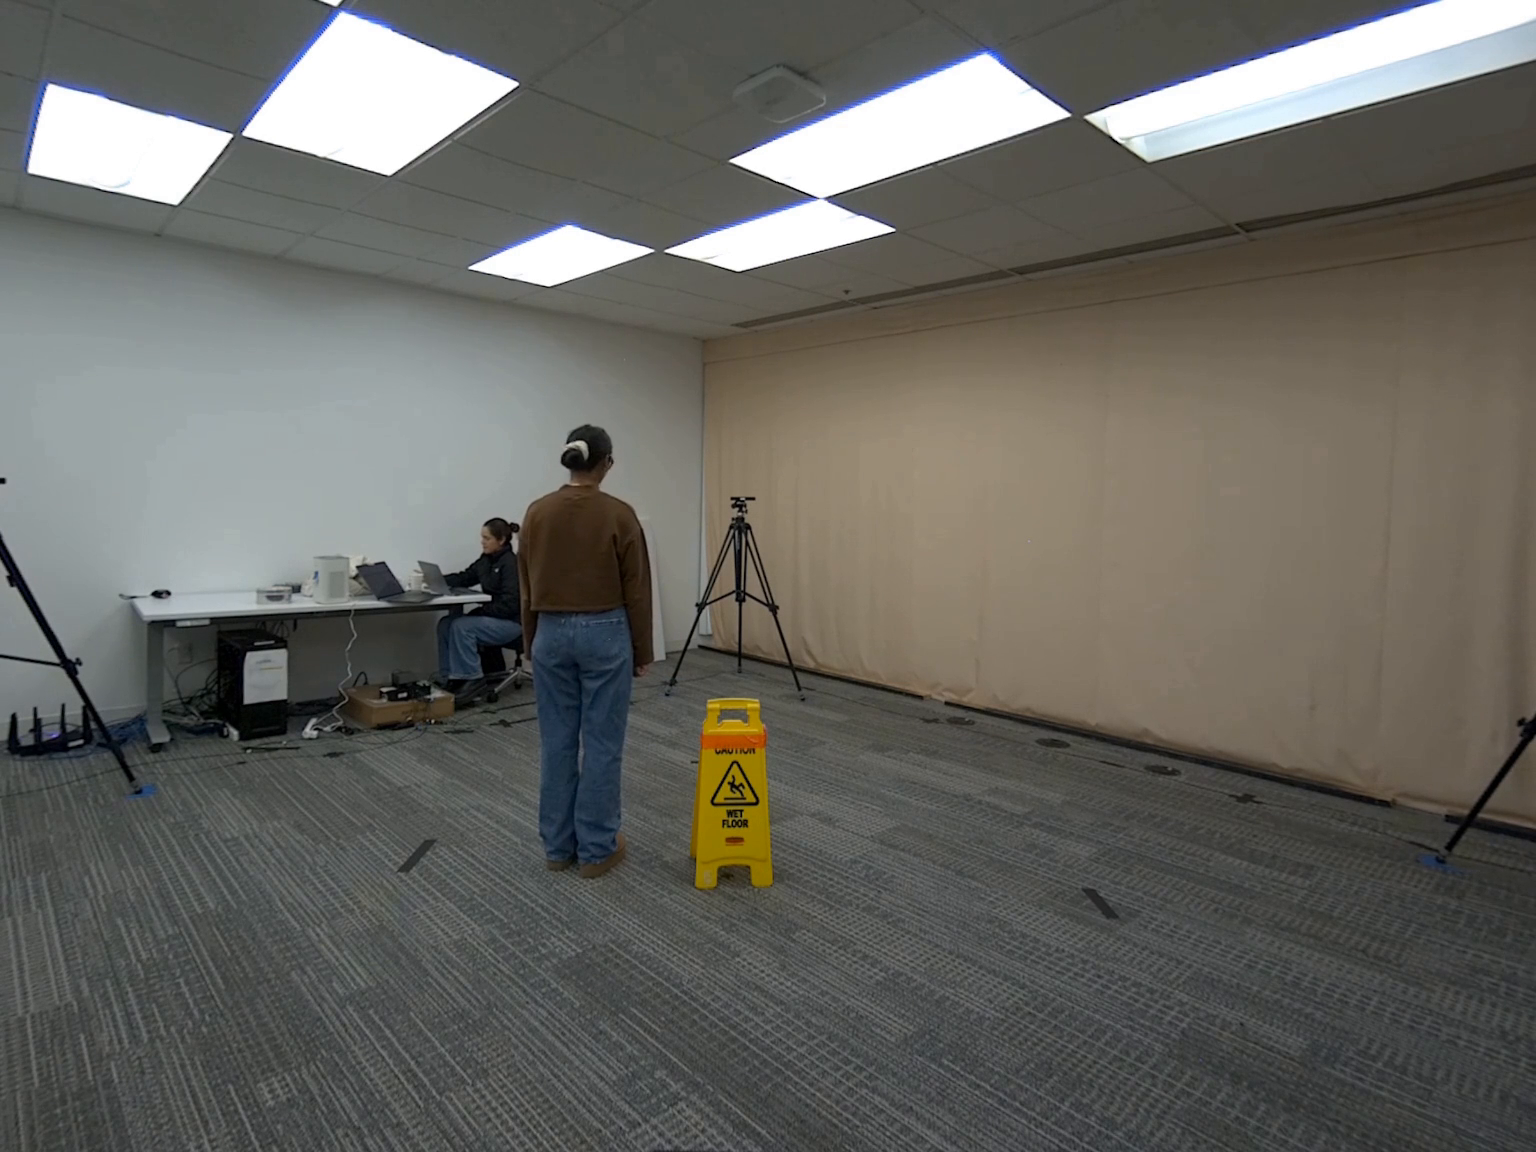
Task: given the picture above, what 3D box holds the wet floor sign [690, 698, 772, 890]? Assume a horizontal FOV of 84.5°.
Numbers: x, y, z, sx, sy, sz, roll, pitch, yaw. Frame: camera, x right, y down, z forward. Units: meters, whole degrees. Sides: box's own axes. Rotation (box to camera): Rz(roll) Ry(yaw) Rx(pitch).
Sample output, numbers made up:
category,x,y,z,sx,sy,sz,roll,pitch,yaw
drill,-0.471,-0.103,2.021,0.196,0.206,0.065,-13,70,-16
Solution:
category,x,y,z,sx,sy,sz,roll,pitch,yaw
wet floor sign,-0.143,0.779,3.131,0.280,0.645,0.292,1,3,-9
